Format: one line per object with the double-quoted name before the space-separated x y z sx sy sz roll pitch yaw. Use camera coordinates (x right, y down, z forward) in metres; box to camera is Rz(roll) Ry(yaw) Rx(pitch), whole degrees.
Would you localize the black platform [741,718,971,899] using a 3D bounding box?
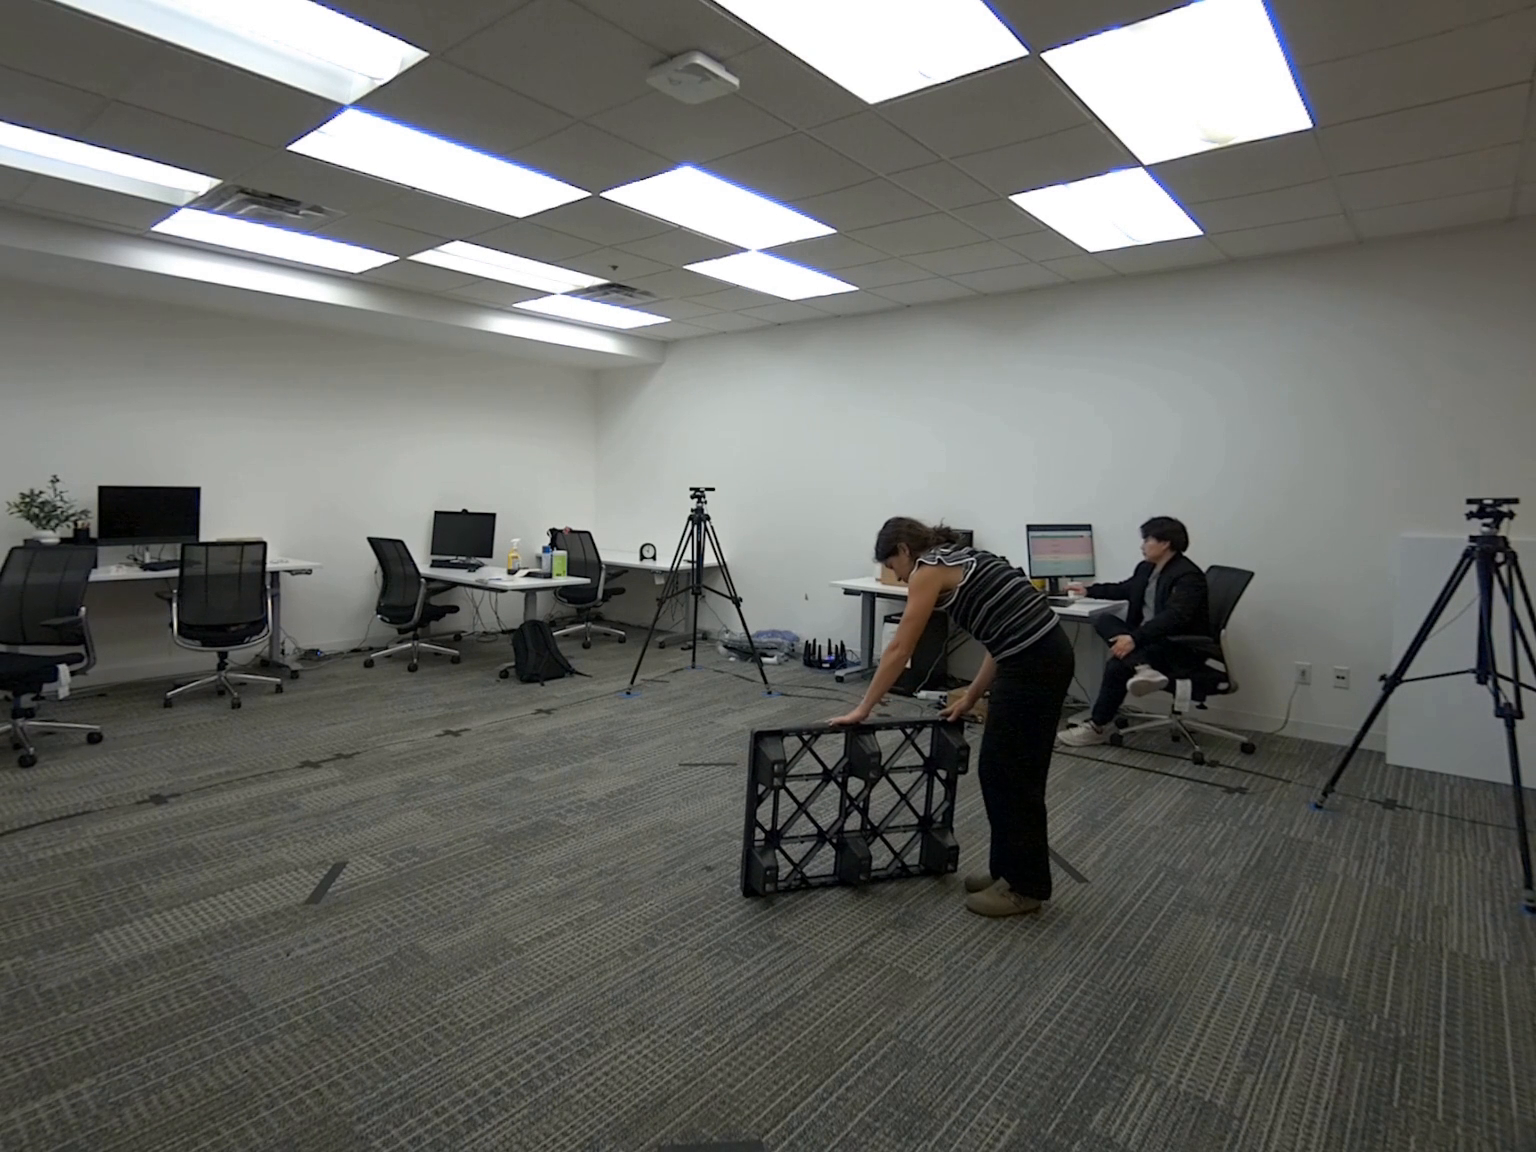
"black platform" 0.311 0.795 2.938 0.791 0.600 0.147 0 9 -17
